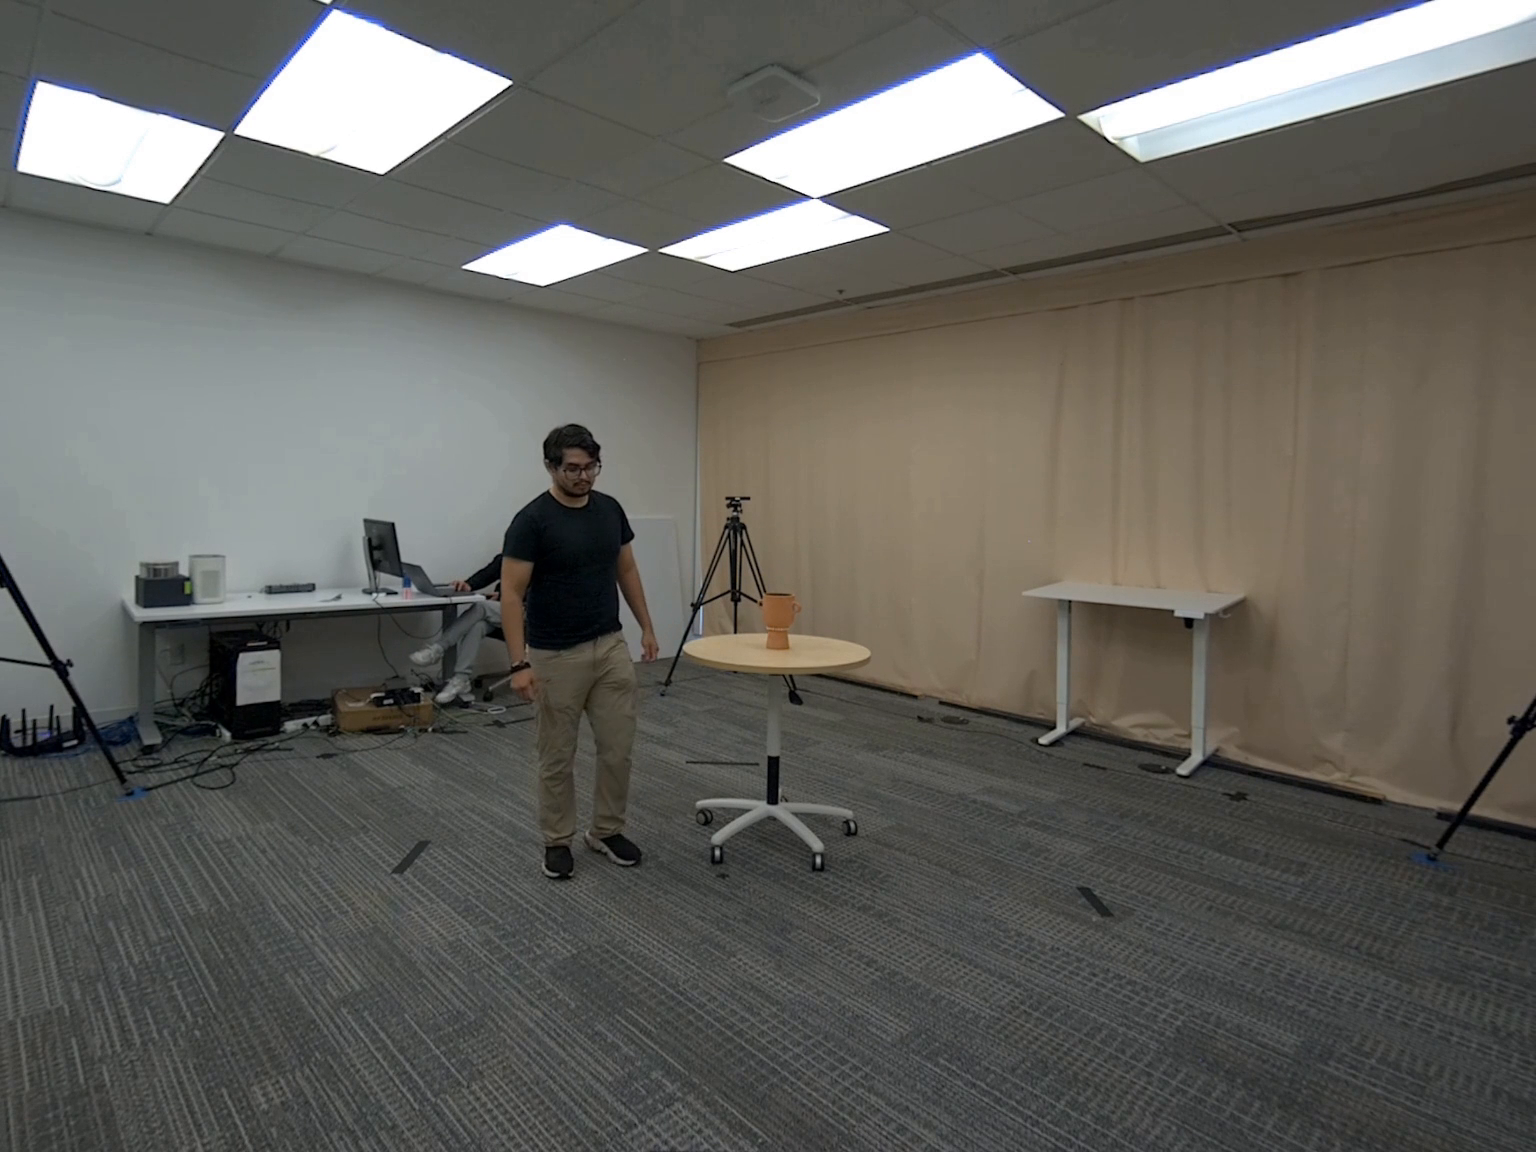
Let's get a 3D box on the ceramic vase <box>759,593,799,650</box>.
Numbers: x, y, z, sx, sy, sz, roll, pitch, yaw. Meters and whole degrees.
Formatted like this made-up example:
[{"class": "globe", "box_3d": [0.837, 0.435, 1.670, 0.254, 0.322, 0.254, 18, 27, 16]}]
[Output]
[{"class": "ceramic vase", "box_3d": [0.033, 0.184, 3.461, 0.132, 0.219, 0.162, -1, 5, -25]}]
